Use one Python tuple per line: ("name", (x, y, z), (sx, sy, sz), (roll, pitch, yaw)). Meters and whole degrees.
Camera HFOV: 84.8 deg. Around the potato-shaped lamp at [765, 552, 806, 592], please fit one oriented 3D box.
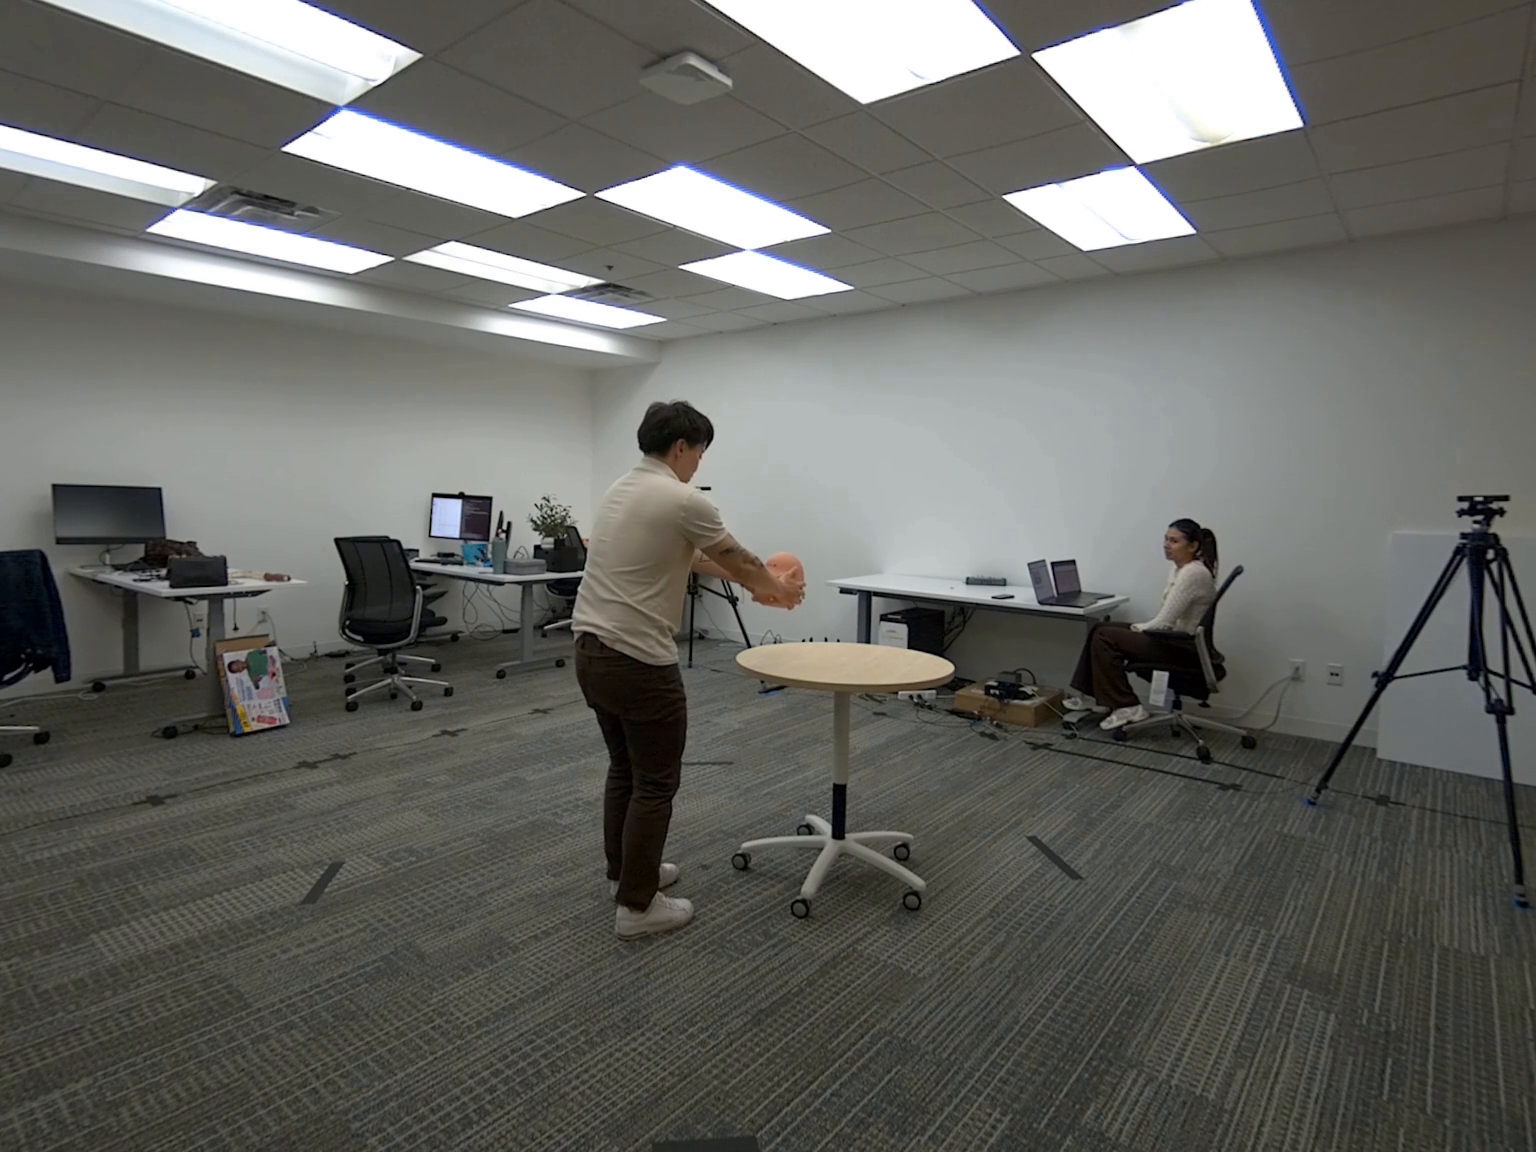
("potato-shaped lamp", (0.026, 0.014, 3.018), (0.166, 0.199, 0.170), (16, -6, -32))
